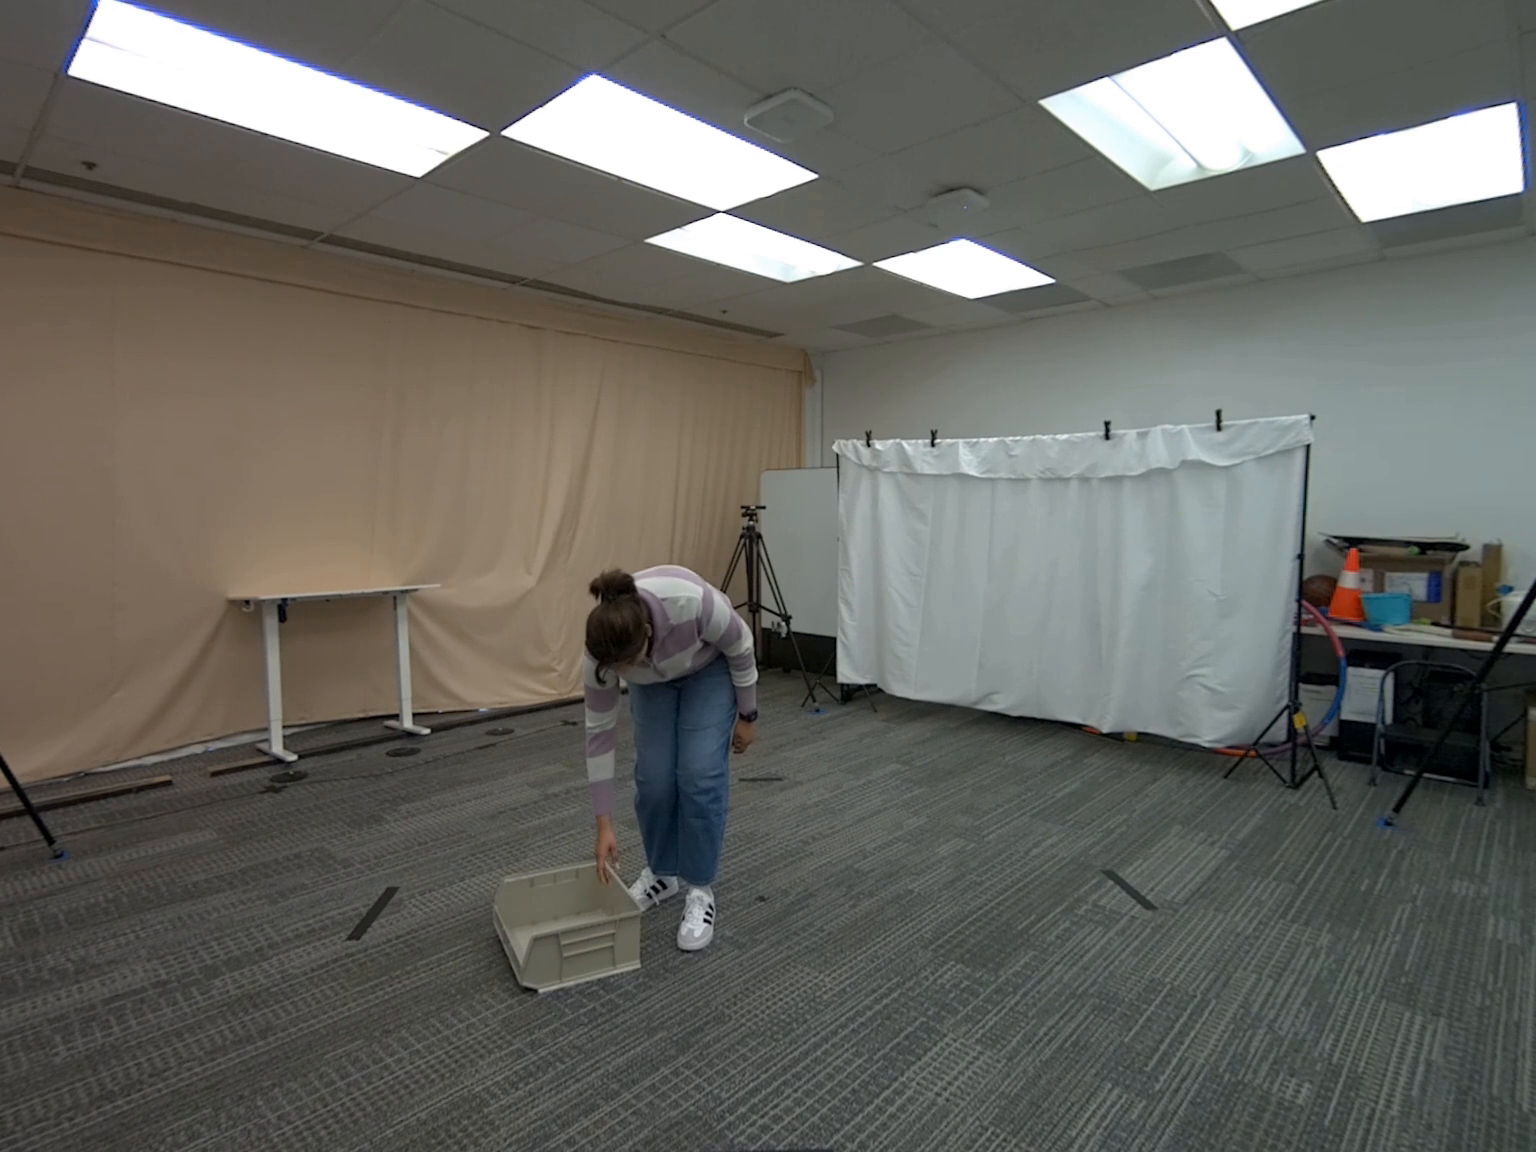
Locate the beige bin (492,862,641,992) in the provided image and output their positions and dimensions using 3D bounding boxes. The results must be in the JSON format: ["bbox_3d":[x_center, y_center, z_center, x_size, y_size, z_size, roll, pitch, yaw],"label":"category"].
[{"bbox_3d":[-0.637,1.087,2.643,0.368,0.188,0.434,-1,4,-27],"label":"beige bin"}]
